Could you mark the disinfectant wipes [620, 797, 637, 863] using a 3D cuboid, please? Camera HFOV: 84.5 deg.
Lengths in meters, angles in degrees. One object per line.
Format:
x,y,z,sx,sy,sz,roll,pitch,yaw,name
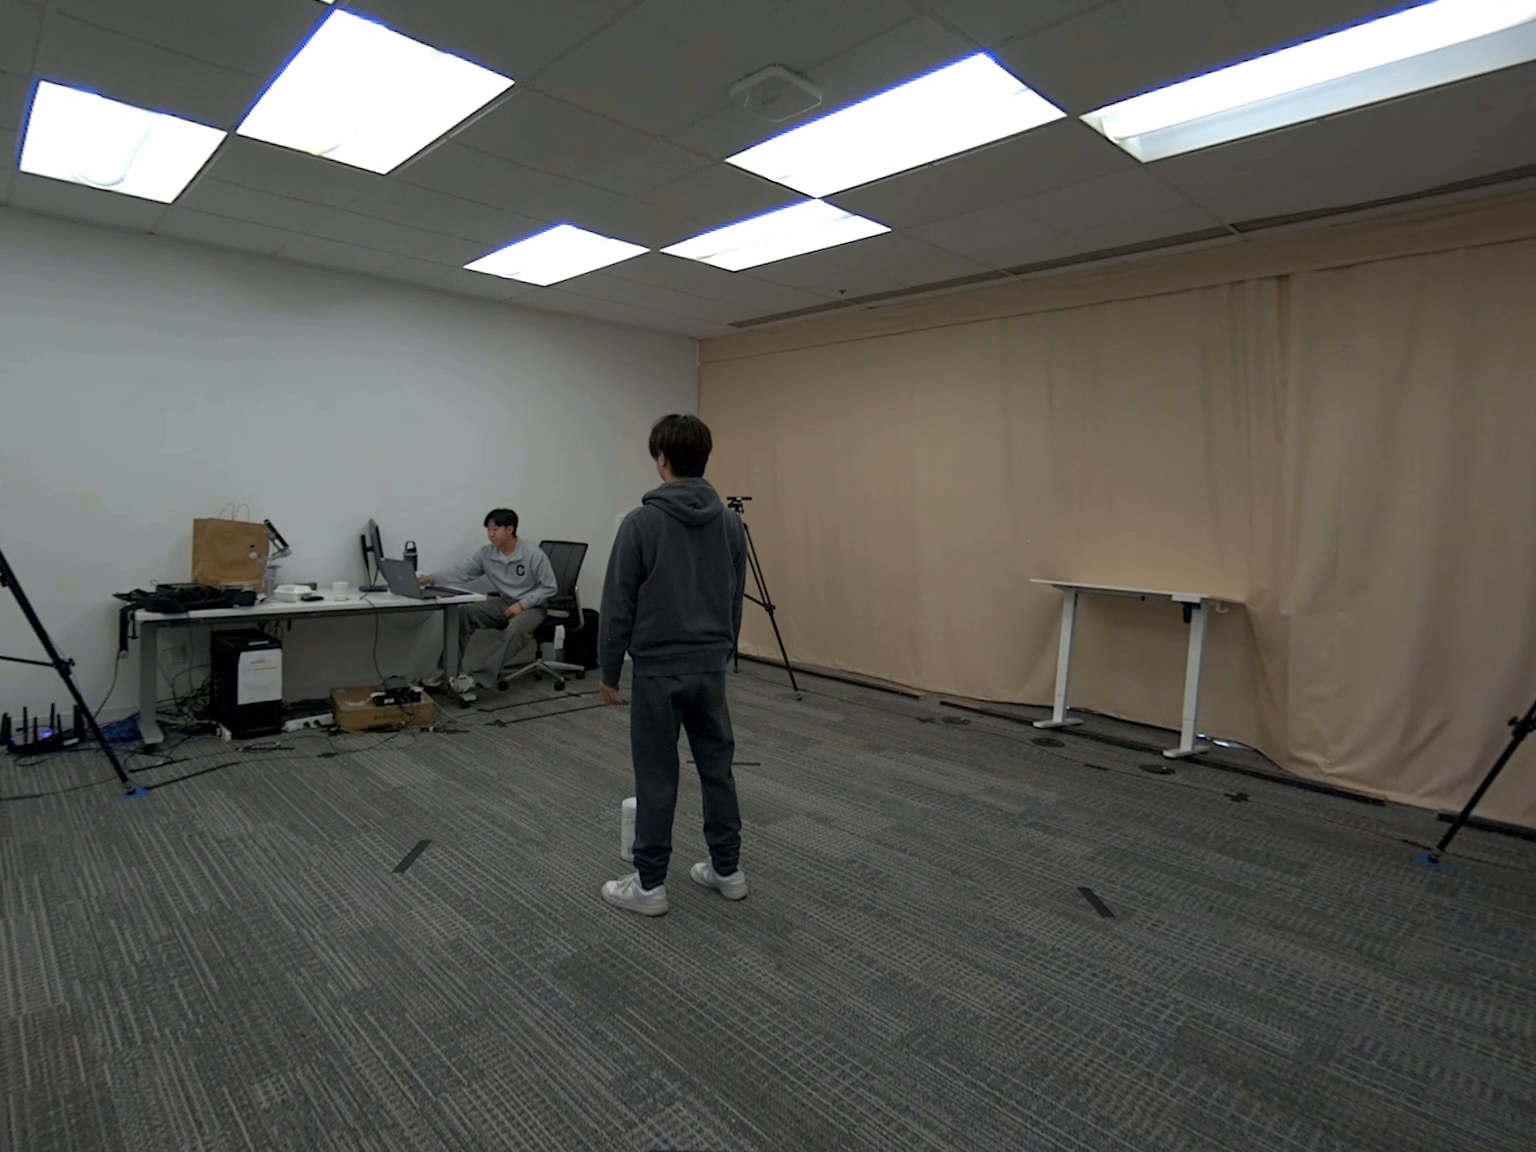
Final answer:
-0.521,0.980,3.244,0.118,0.217,0.118,3,3,-2,disinfectant wipes
